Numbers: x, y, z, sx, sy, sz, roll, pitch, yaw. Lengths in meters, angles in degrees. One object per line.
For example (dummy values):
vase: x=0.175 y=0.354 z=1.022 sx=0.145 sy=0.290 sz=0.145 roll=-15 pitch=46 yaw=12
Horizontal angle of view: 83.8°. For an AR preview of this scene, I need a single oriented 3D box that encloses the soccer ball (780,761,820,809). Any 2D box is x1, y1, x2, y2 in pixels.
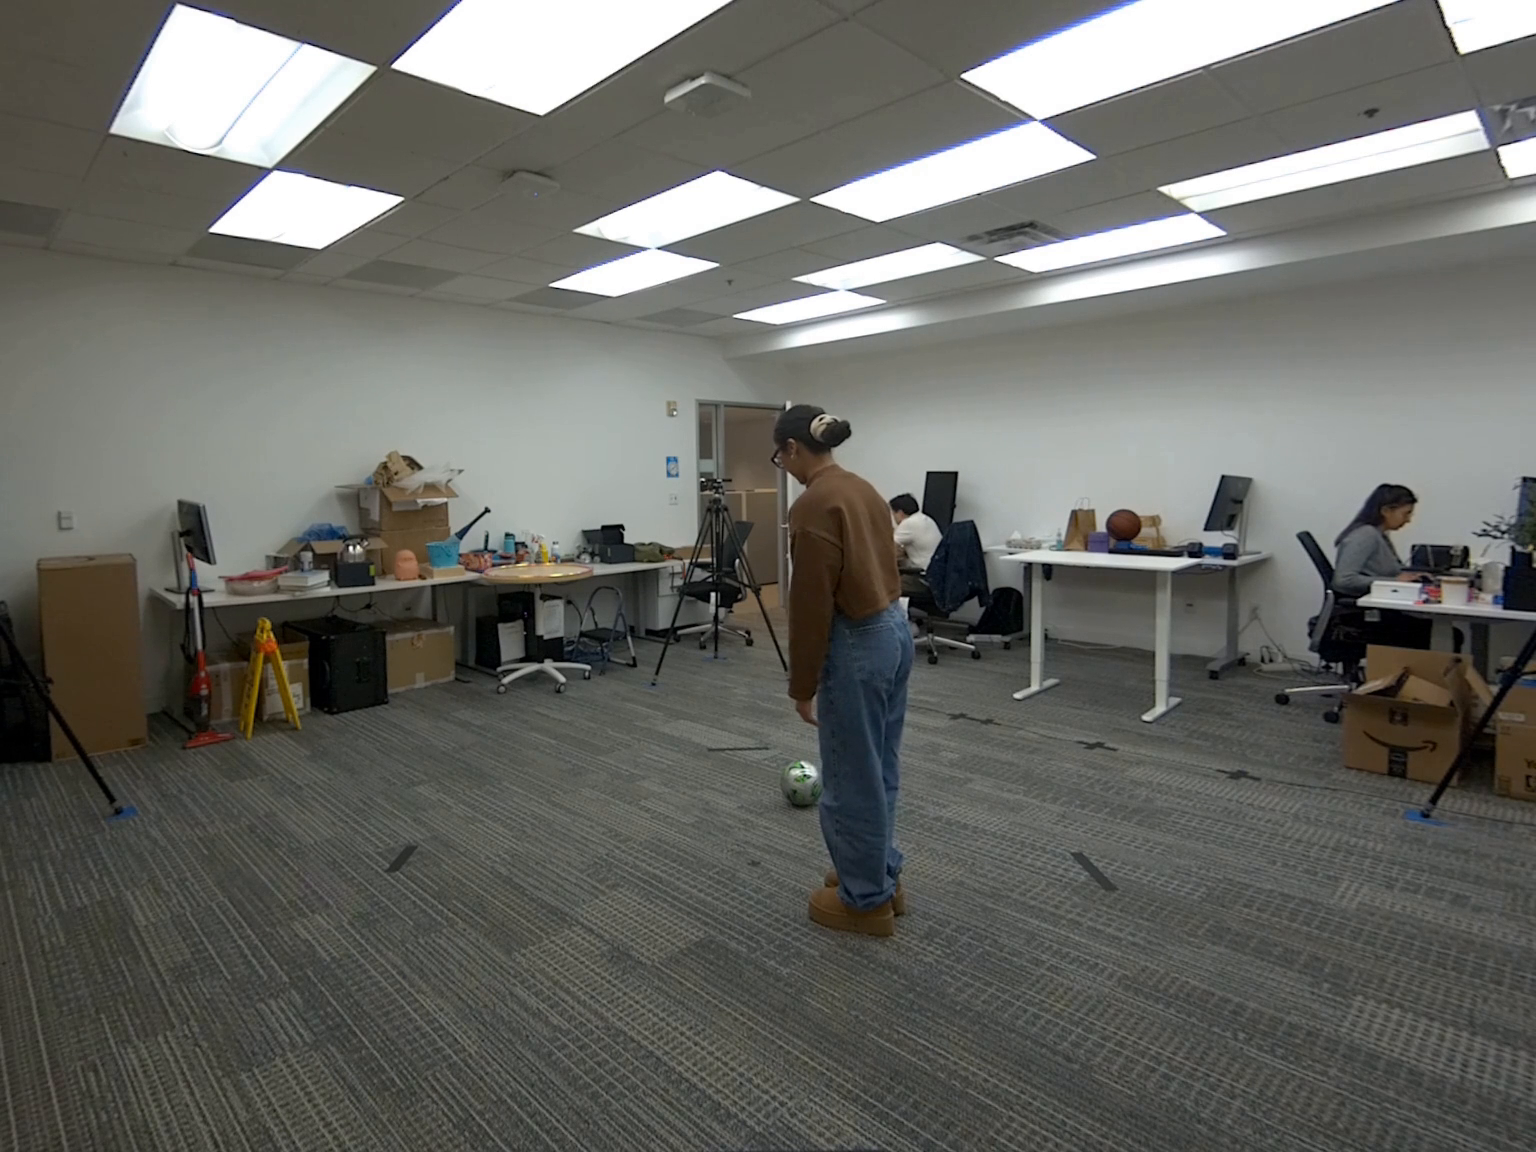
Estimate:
soccer ball: x=0.148 y=0.884 z=3.657 sx=0.187 sy=0.187 sz=0.188 roll=-1 pitch=5 yaw=-2
